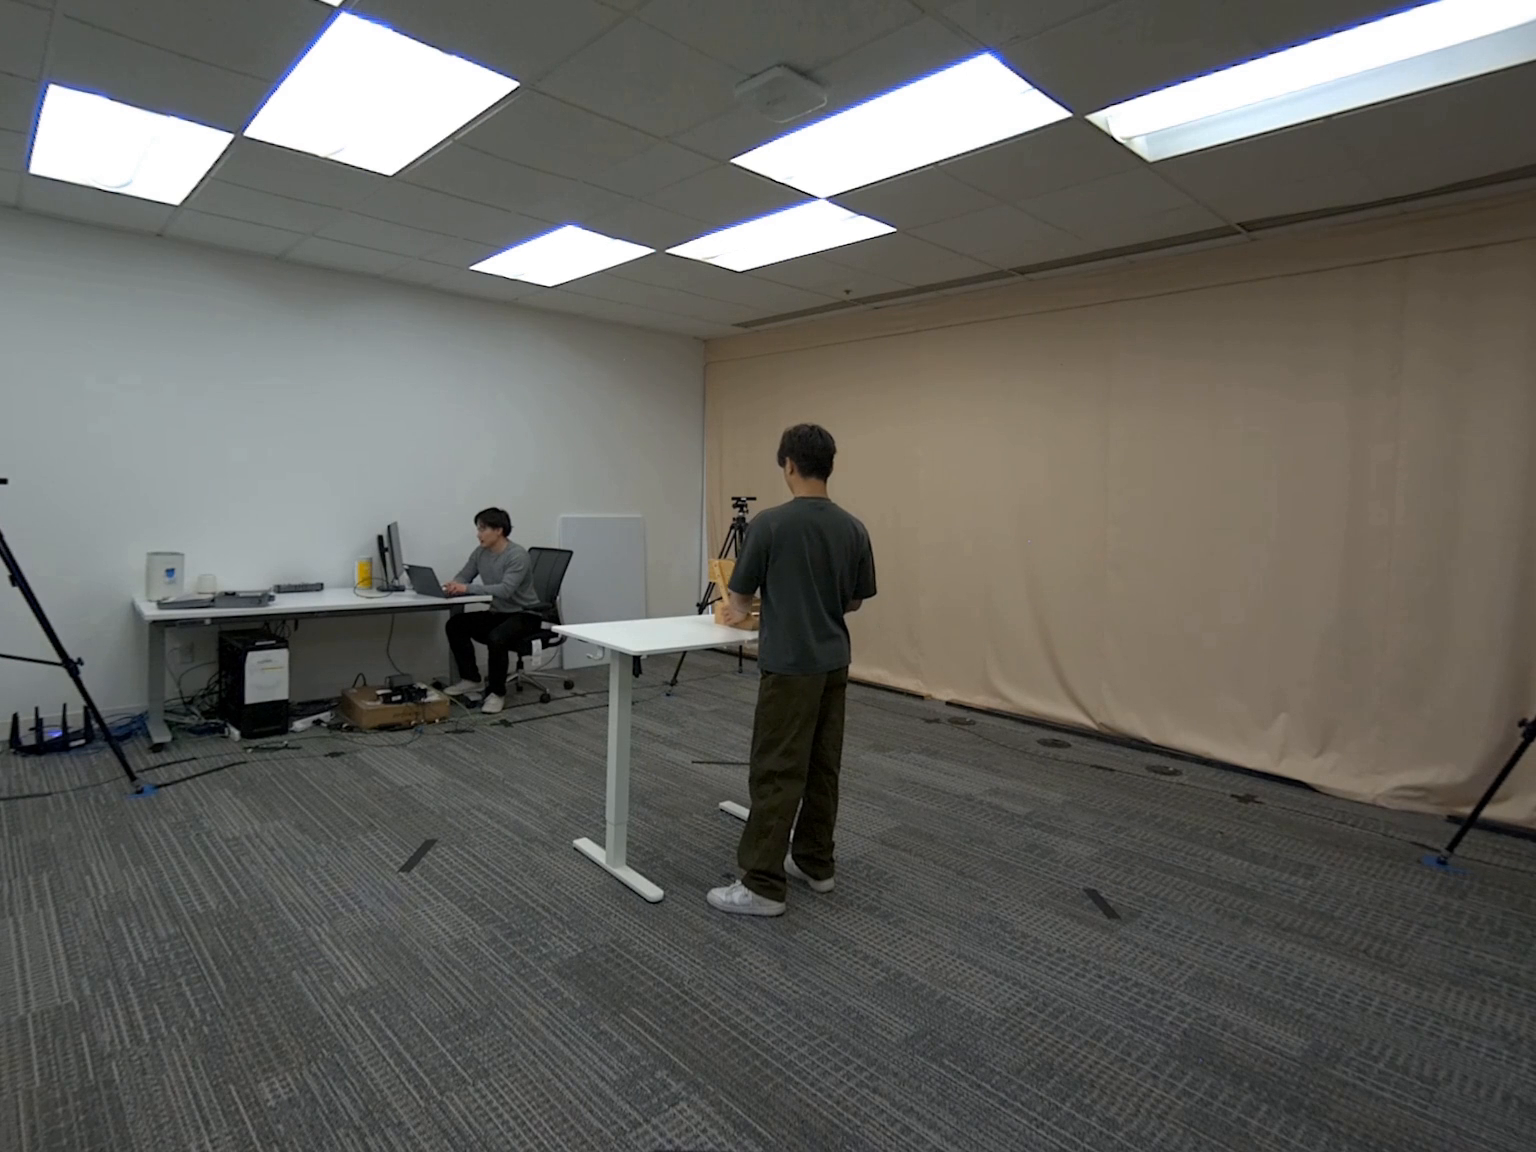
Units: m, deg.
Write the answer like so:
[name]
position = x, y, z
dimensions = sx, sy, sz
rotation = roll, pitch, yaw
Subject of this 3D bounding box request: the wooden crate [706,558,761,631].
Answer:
[wooden crate]
position = -0.047, 0.065, 3.462
dimensions = 0.317, 0.273, 0.310
rotation = -2, 5, -41
